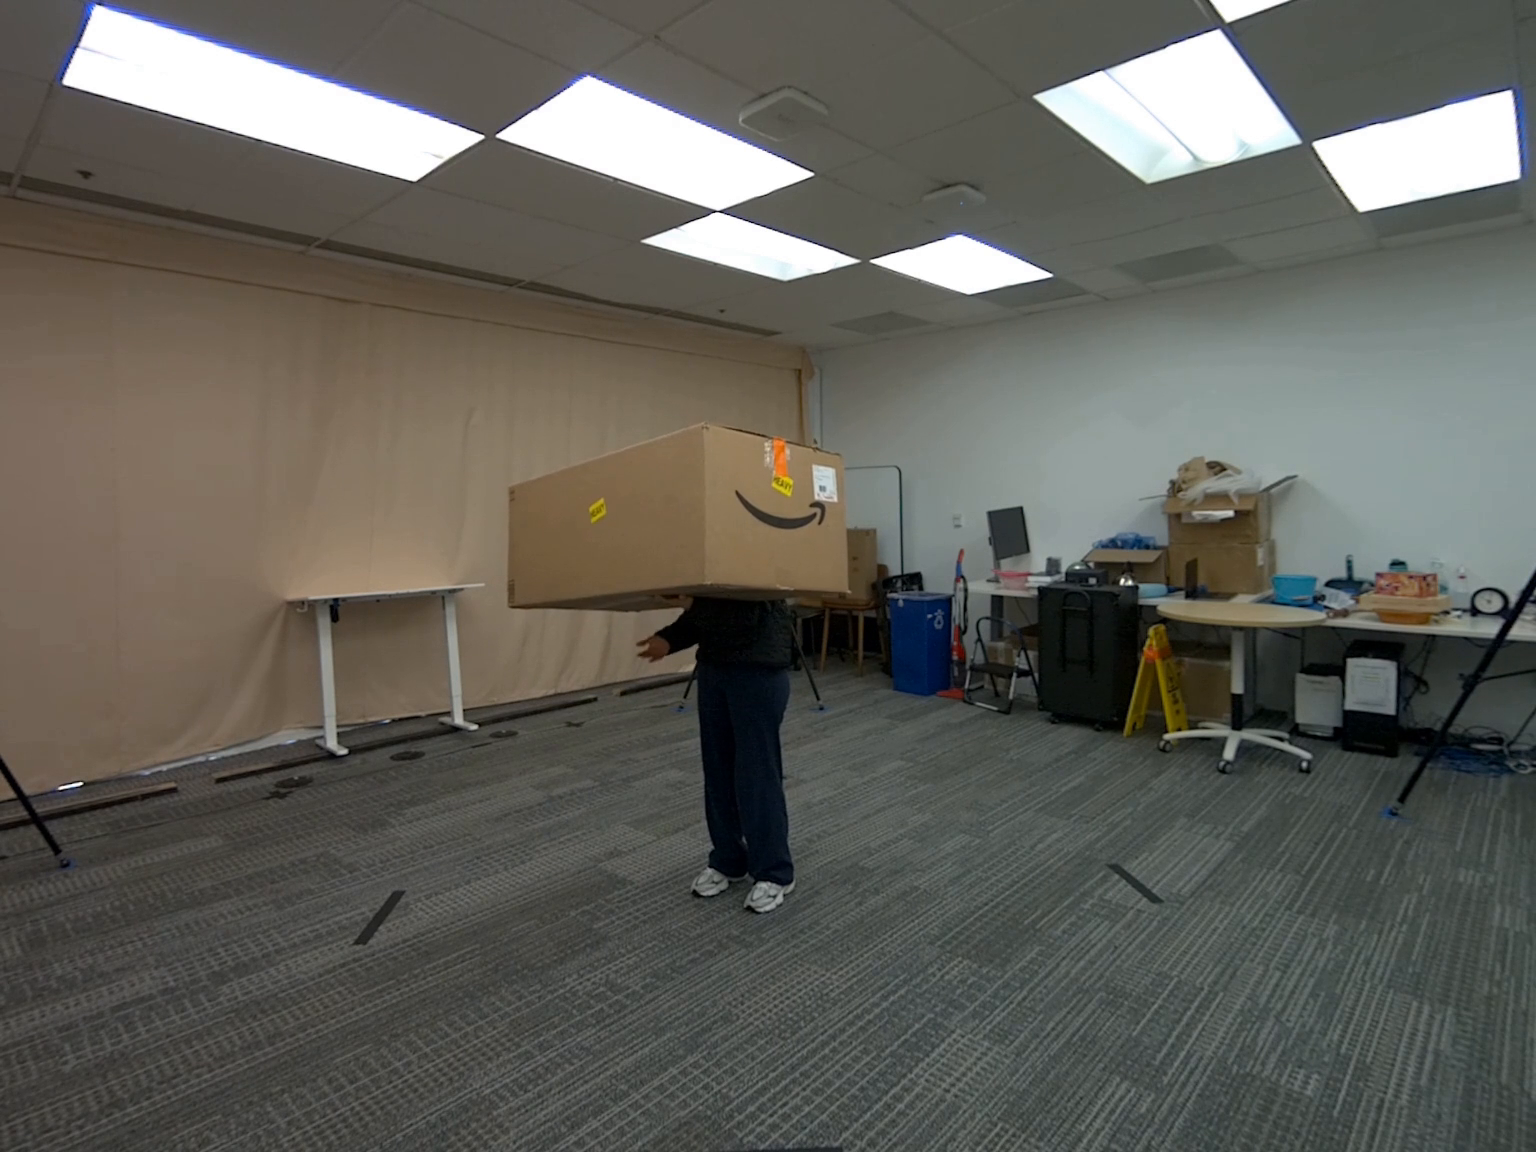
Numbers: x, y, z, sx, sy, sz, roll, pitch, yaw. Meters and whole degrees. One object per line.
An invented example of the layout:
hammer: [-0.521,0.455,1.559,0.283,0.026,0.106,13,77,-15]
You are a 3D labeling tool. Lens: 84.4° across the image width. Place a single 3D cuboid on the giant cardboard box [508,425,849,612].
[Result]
giant cardboard box: [-0.311,-0.129,2.708,0.558,0.428,1.056,4,-8,-45]
